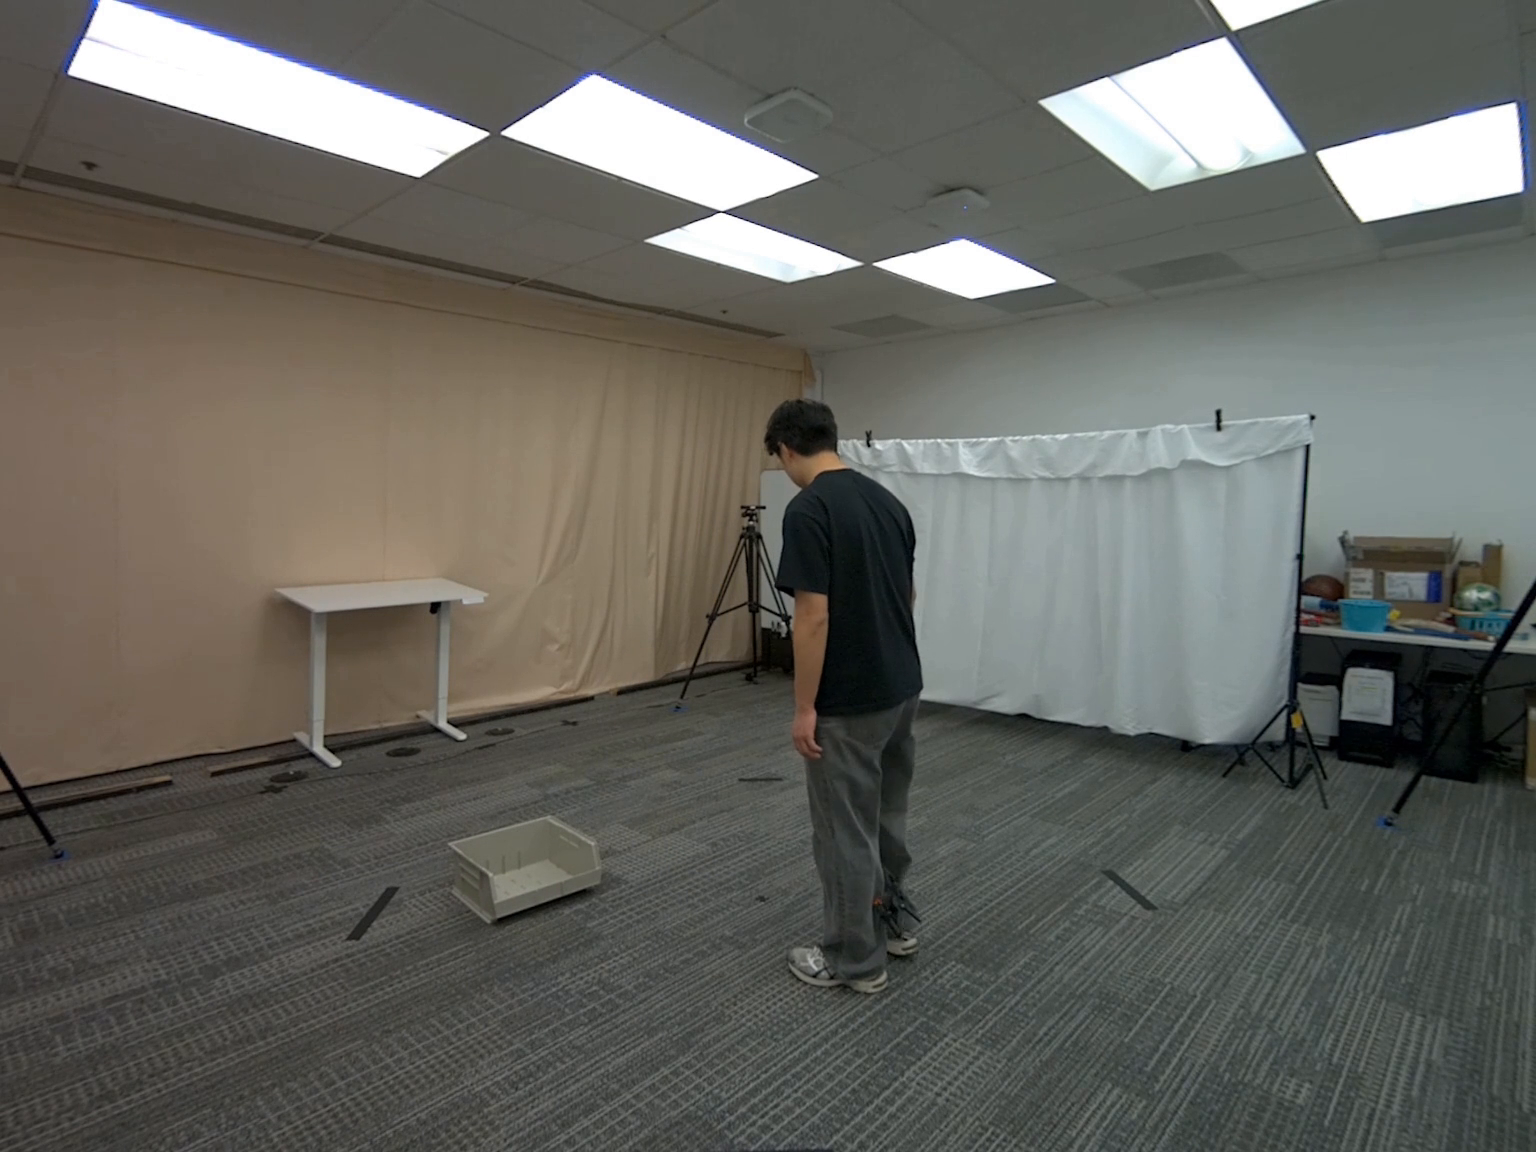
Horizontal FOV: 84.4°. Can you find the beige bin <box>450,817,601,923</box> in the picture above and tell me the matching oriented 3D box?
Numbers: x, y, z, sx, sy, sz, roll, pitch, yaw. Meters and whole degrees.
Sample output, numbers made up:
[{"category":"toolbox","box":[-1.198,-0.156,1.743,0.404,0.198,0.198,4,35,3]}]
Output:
[{"category":"beige bin","box":[-0.880,1.058,3.046,0.410,0.188,0.390,-5,5,-41]}]
